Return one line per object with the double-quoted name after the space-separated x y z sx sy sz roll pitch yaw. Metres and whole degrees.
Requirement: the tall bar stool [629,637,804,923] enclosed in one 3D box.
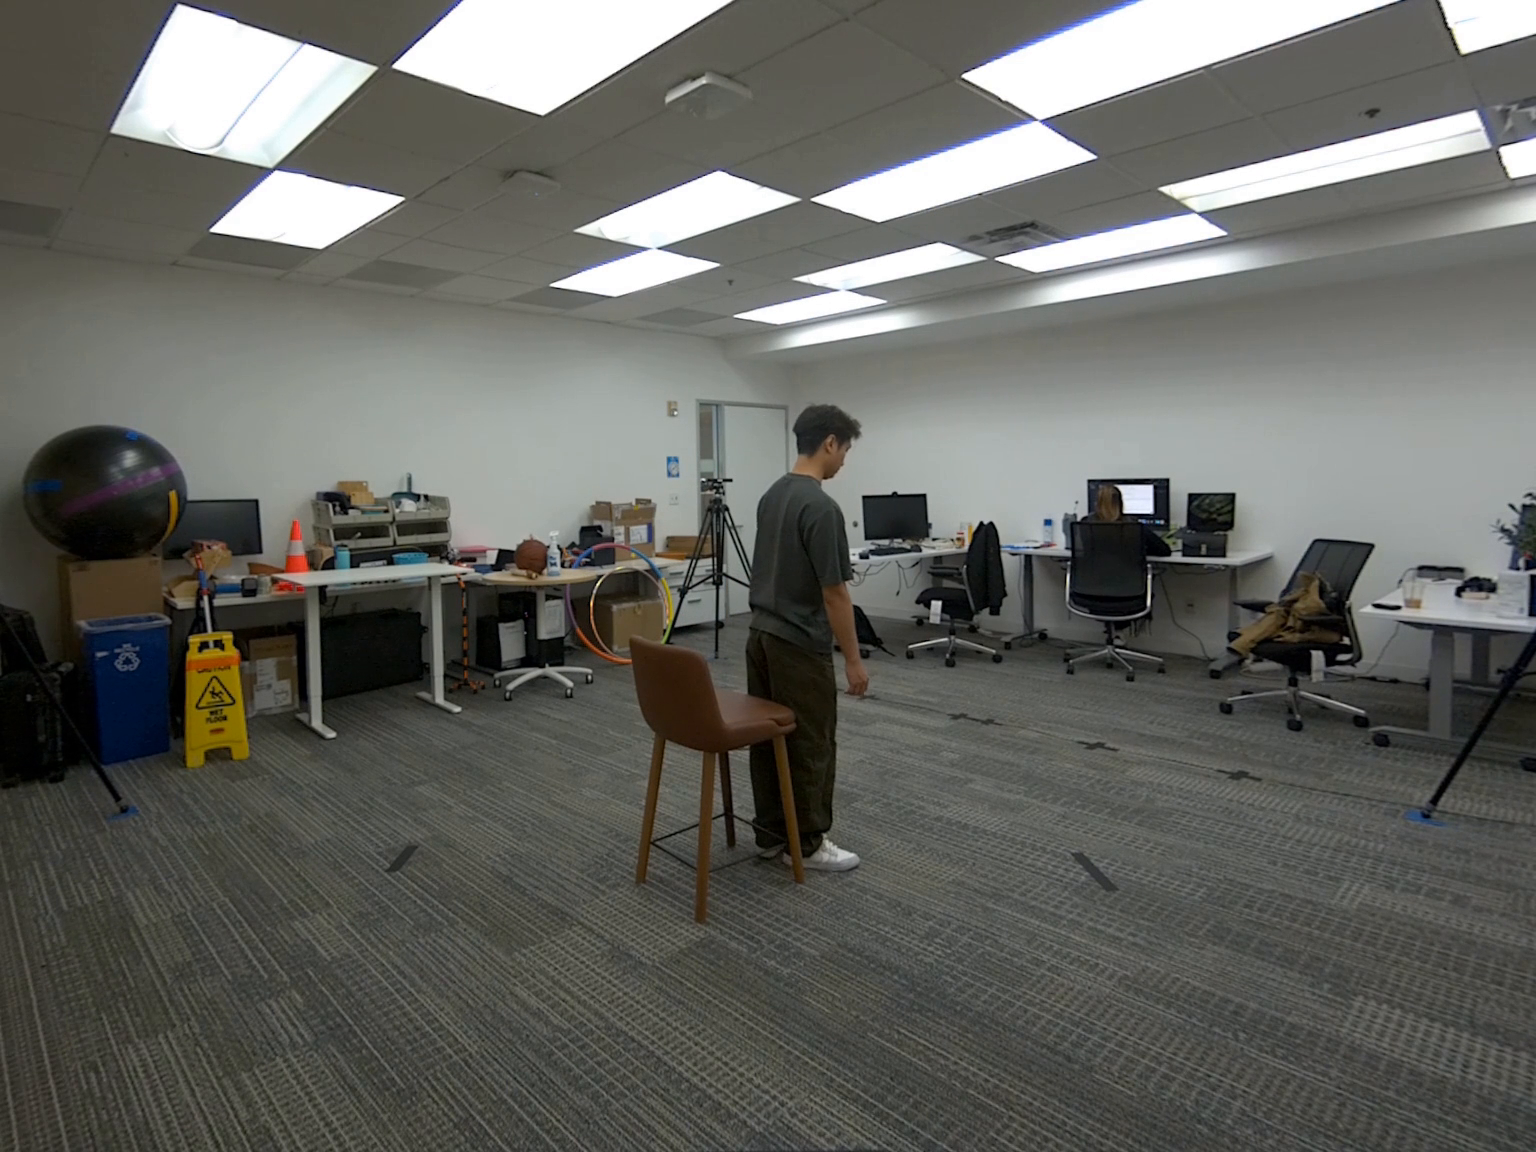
-0.179 0.628 2.937 0.456 0.885 0.470 -6 7 -40 "tall bar stool"
